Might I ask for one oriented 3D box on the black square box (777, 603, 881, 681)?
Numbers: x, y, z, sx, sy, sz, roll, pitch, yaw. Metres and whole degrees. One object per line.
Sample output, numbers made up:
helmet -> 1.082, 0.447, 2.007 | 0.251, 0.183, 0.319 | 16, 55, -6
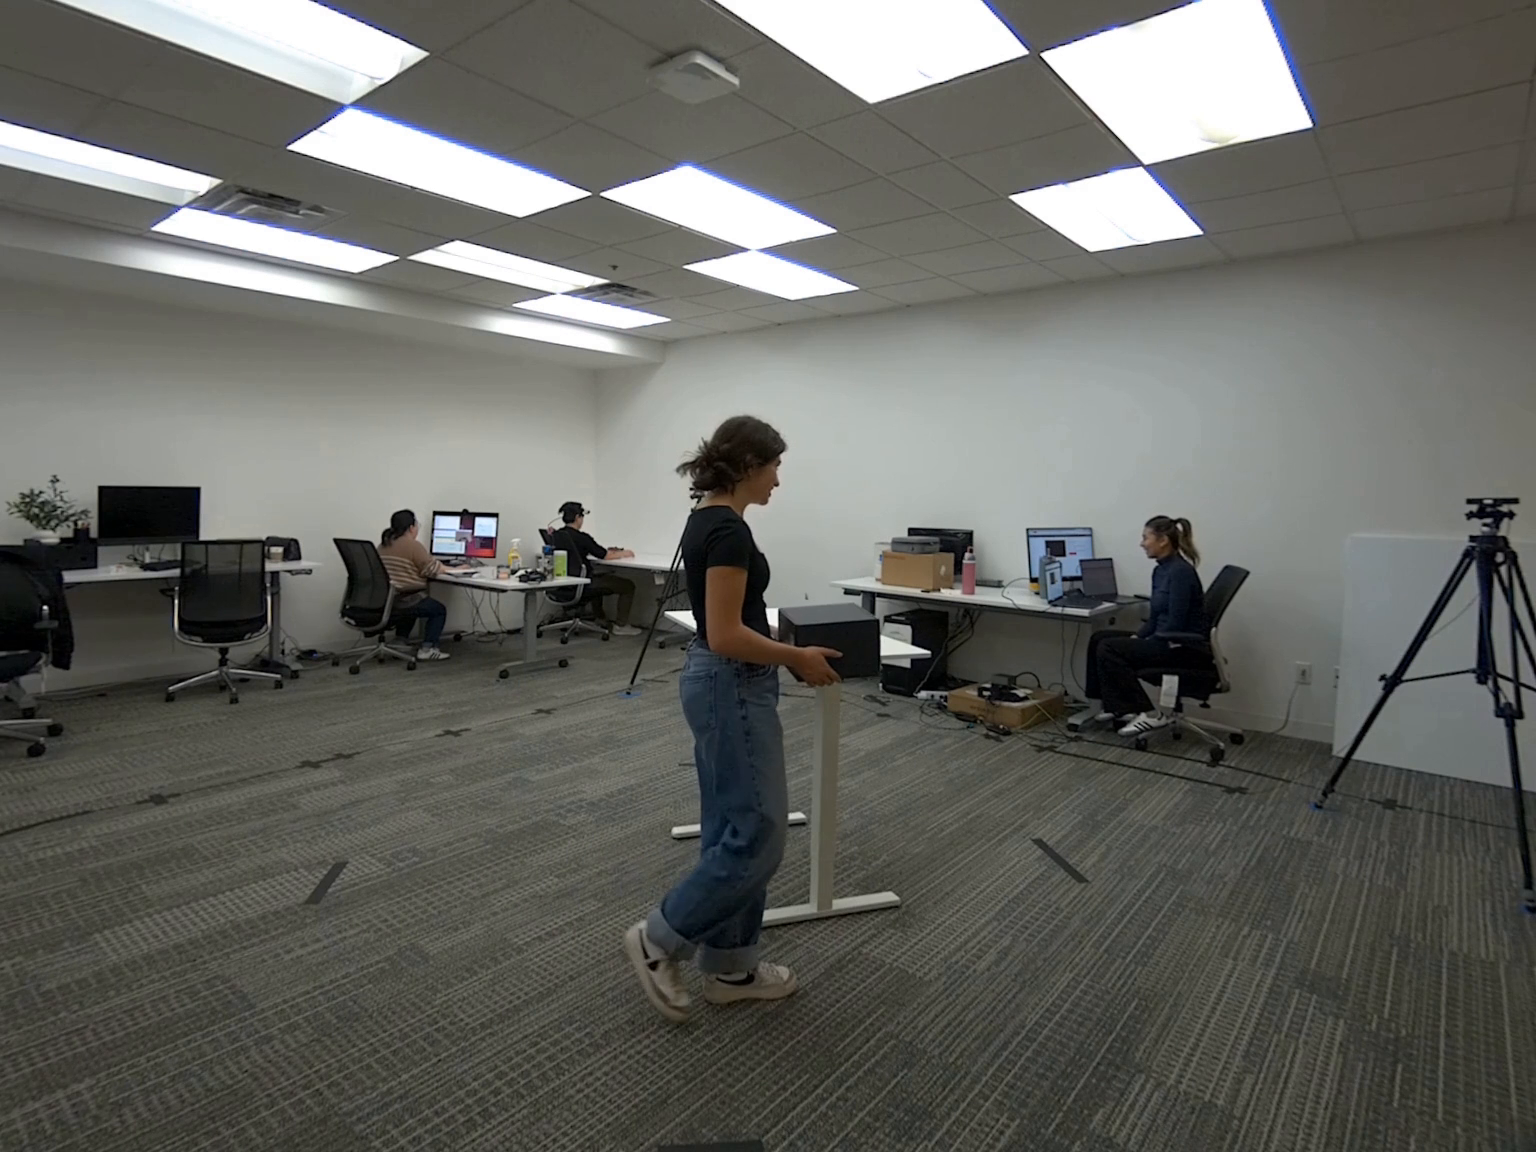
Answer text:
black square box -> 0.149, 0.176, 2.332 | 0.225, 0.154, 0.221 | -4, 11, -11
